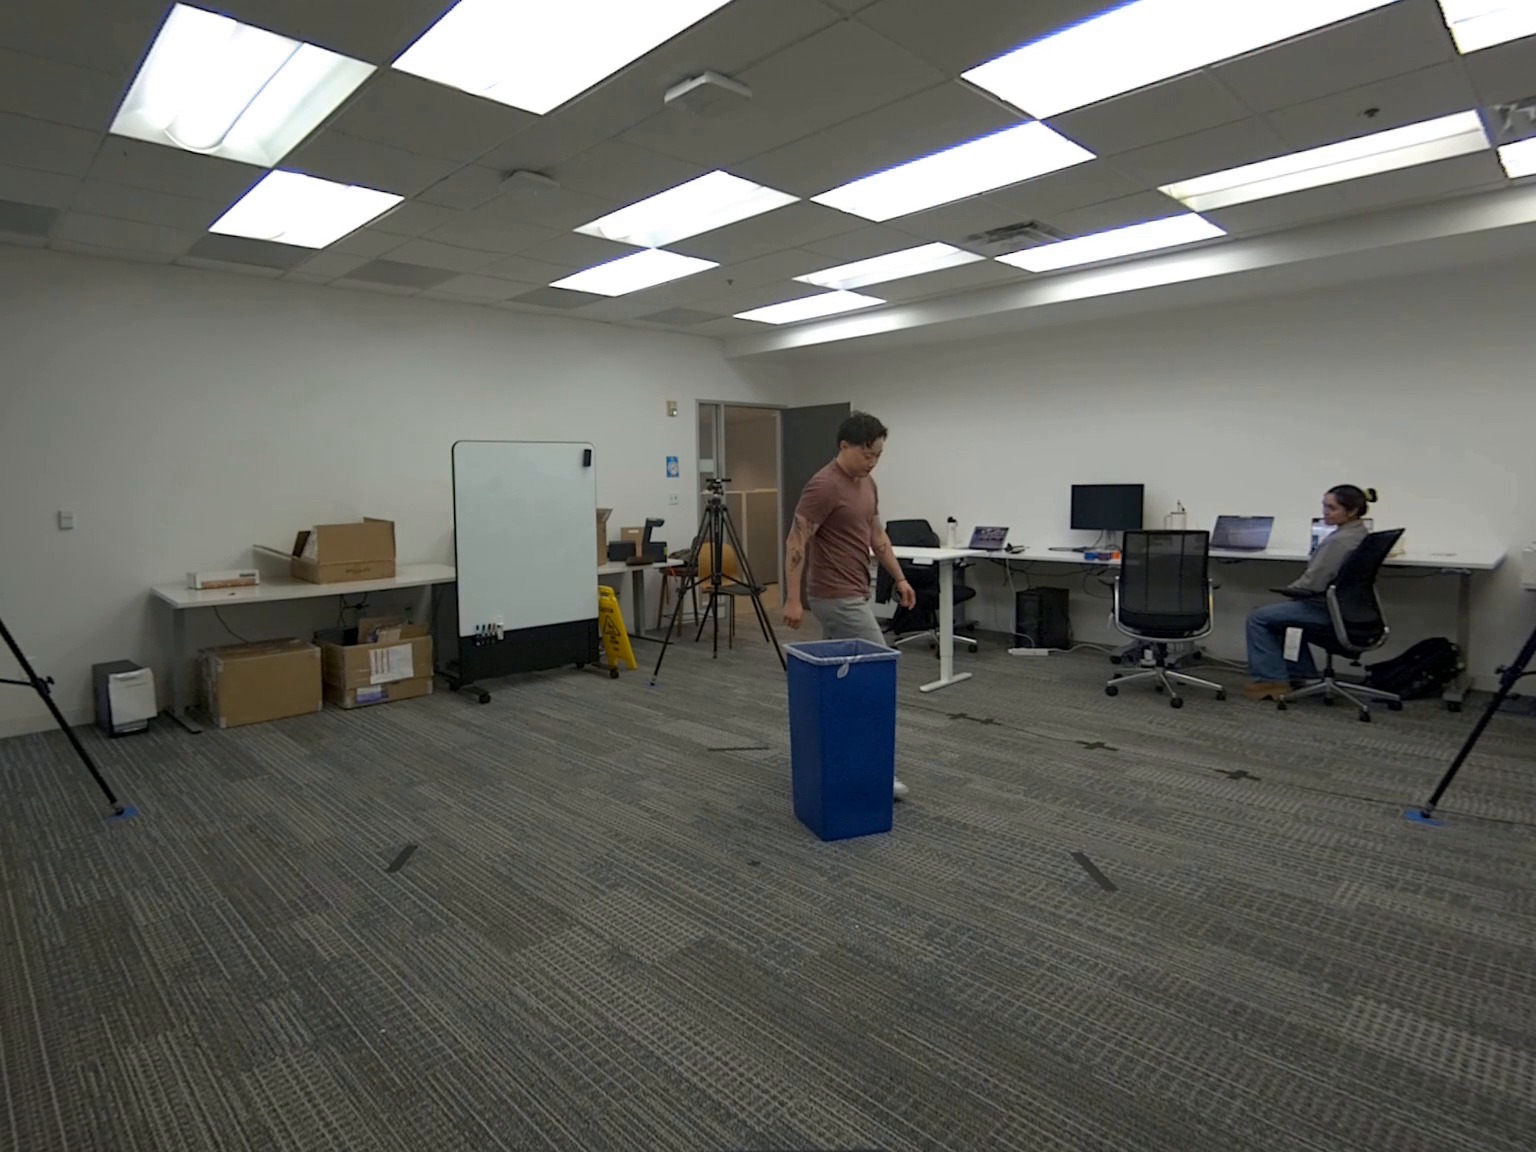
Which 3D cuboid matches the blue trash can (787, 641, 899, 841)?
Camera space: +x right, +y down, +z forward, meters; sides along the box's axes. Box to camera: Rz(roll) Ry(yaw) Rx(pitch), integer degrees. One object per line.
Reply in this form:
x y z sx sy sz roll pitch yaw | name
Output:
0.289 0.641 3.449 0.371 0.711 0.383 -2 4 -23 | blue trash can
